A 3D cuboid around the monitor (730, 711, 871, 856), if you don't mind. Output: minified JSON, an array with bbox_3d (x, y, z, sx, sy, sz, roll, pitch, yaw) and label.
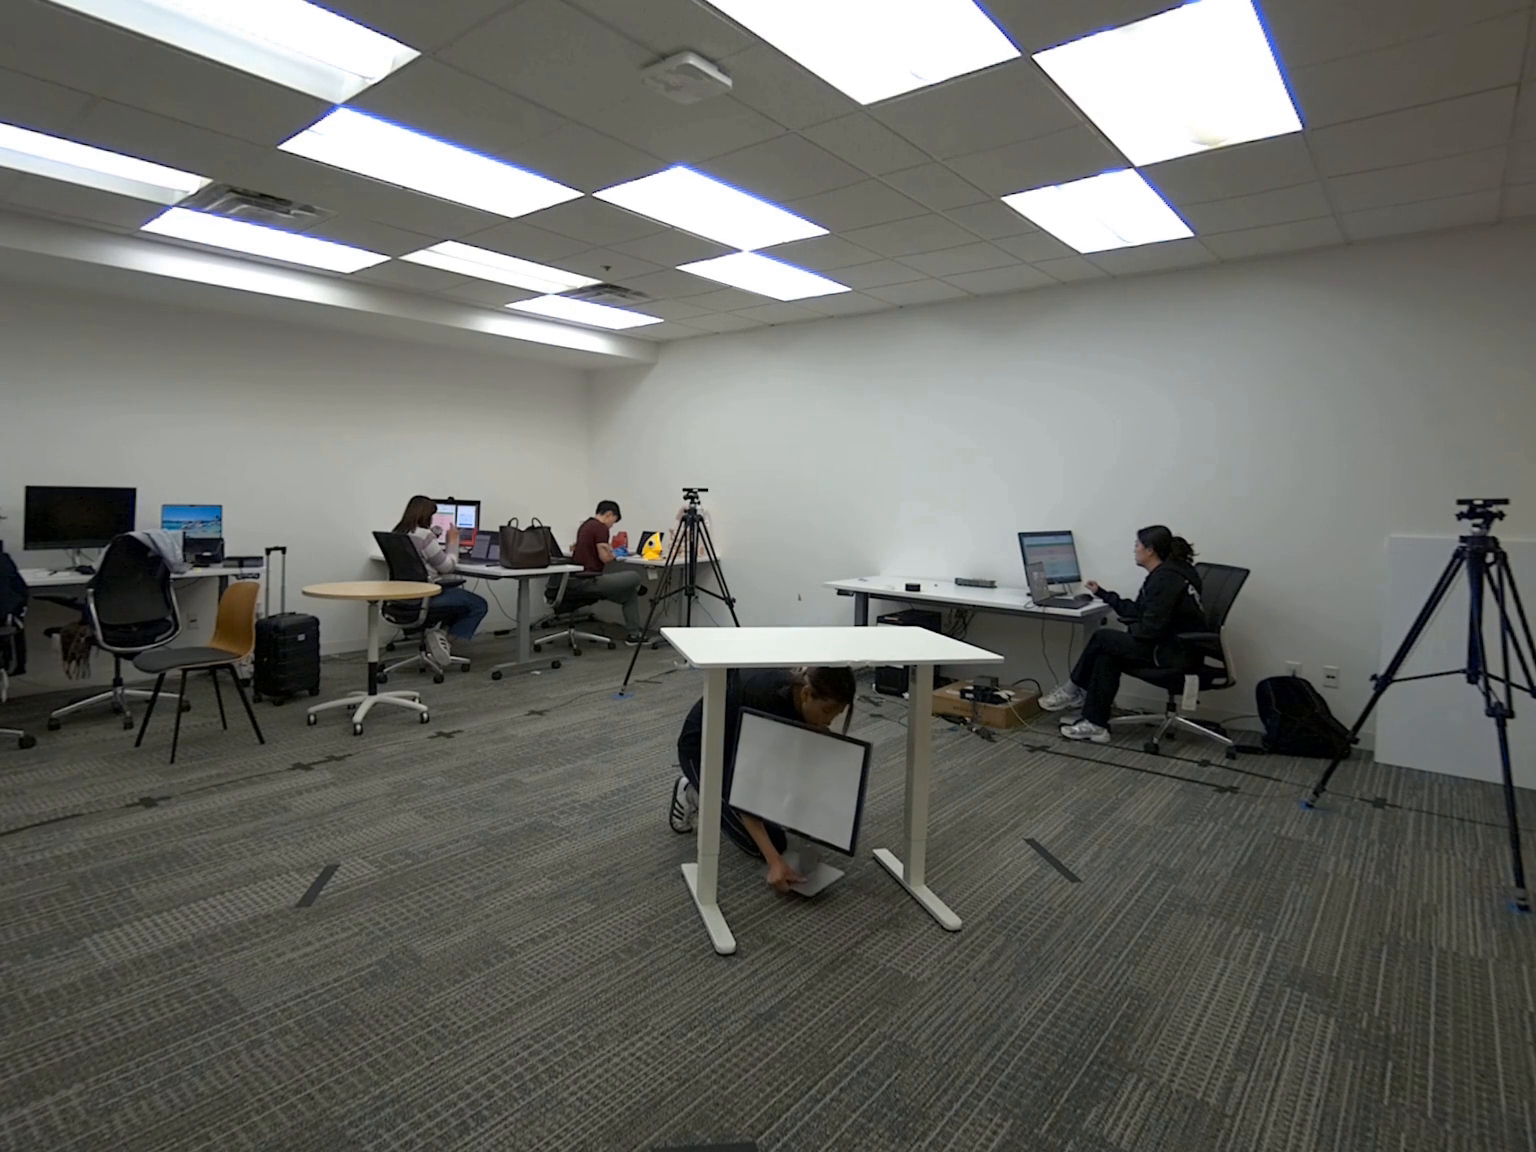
[{"bbox_3d":[0.116,0.772,2.934,0.558,0.520,0.182,6,8,42],"label":"monitor"}]
